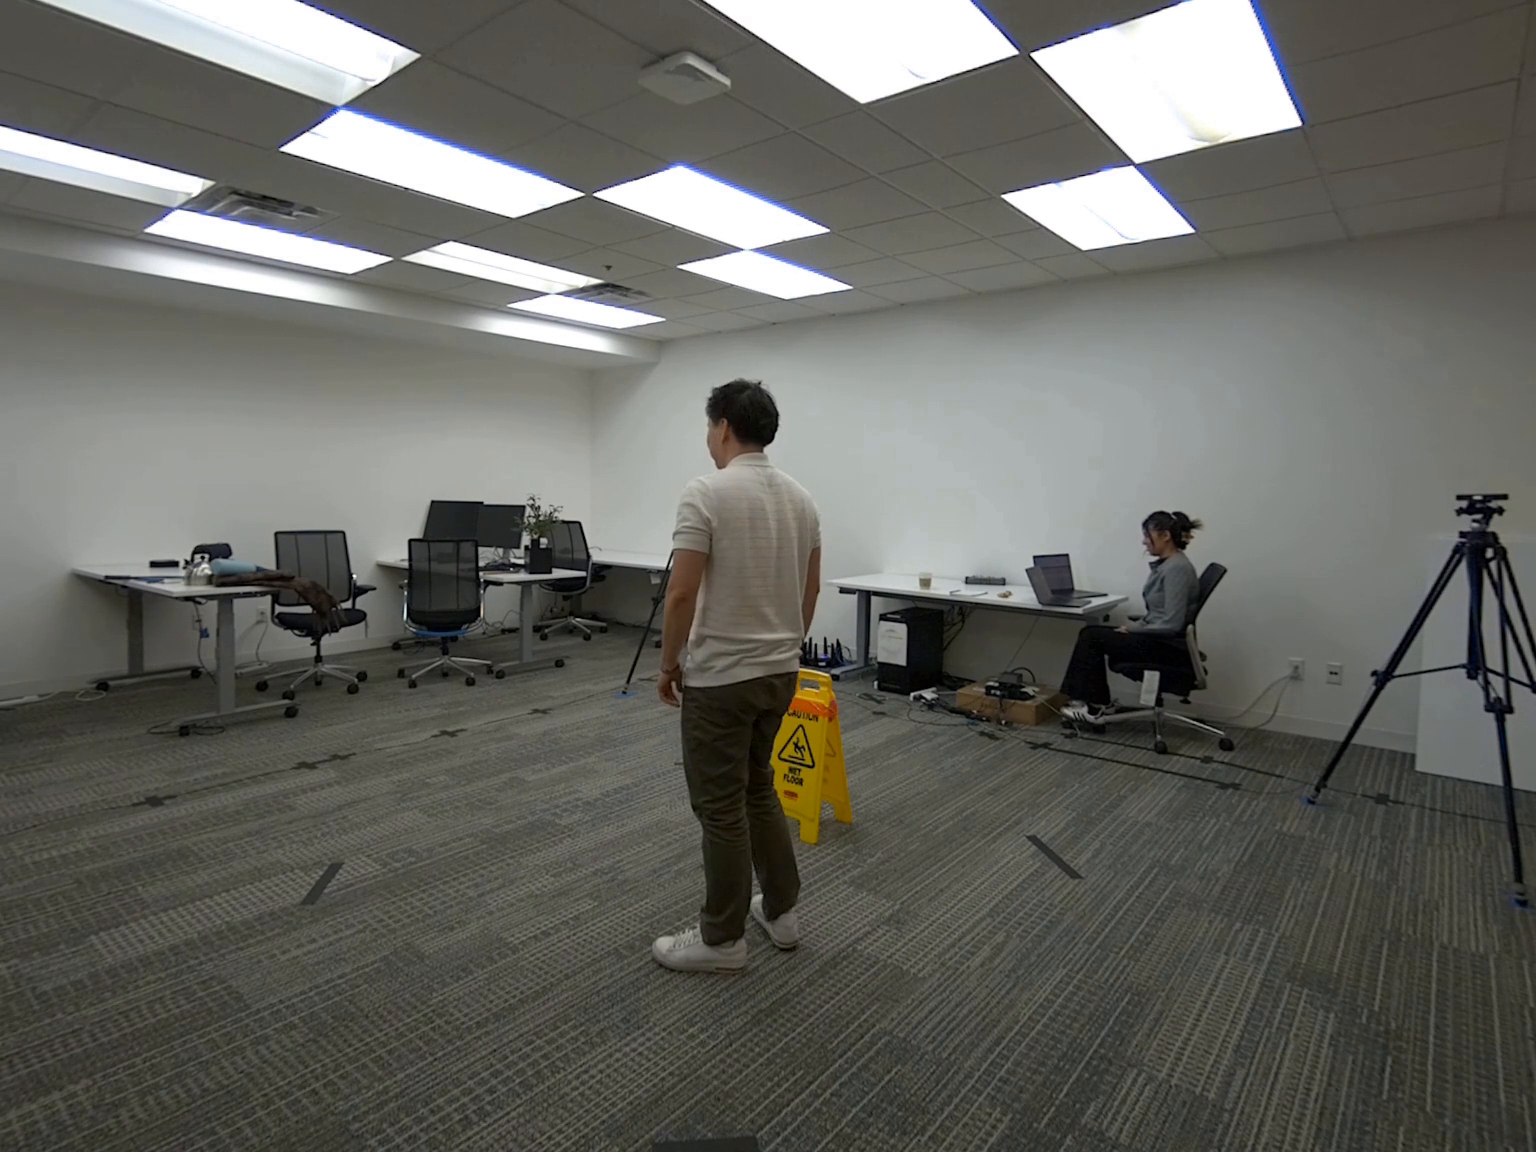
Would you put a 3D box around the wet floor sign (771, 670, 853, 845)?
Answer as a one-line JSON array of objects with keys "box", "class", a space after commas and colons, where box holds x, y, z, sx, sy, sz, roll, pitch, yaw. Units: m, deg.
[{"box": [0.158, 0.707, 3.517, 0.291, 0.644, 0.281, 4, 3, 37], "class": "wet floor sign"}]
